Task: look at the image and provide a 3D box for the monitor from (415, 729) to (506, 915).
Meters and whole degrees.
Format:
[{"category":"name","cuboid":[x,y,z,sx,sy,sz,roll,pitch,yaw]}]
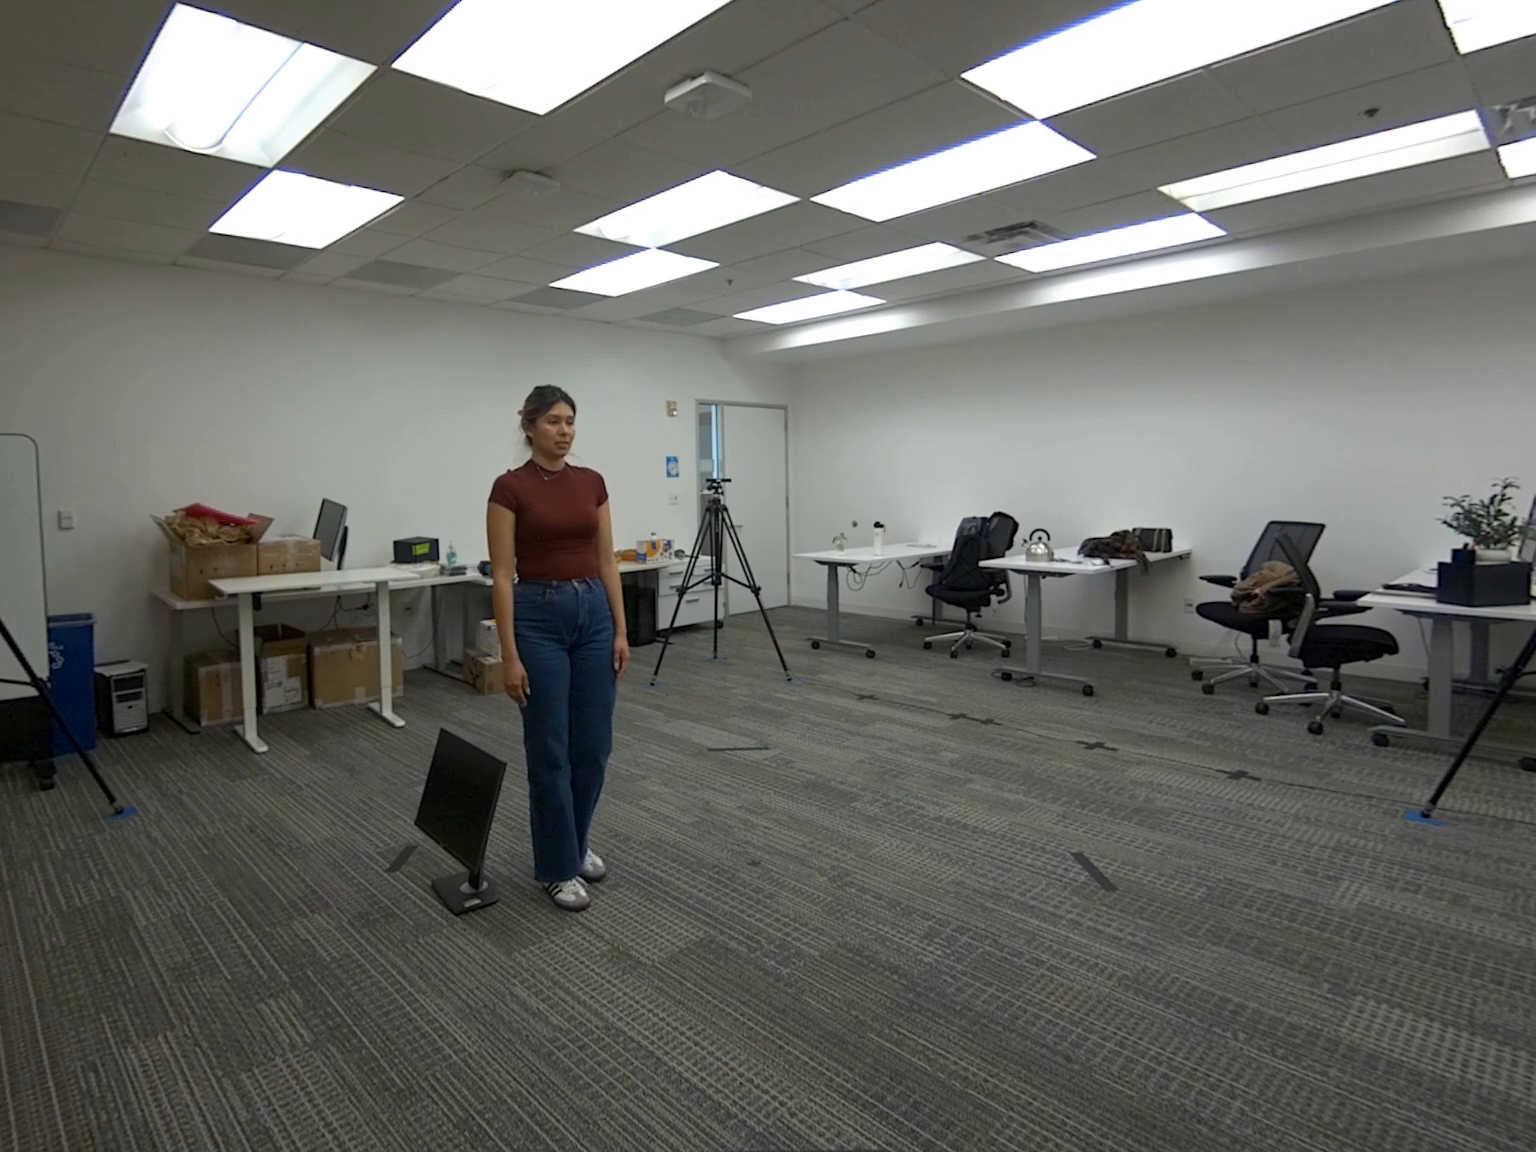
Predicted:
[{"category":"monitor","cuboid":[-1.026,0.835,2.909,0.182,0.522,0.556,0,3,-42]}]
